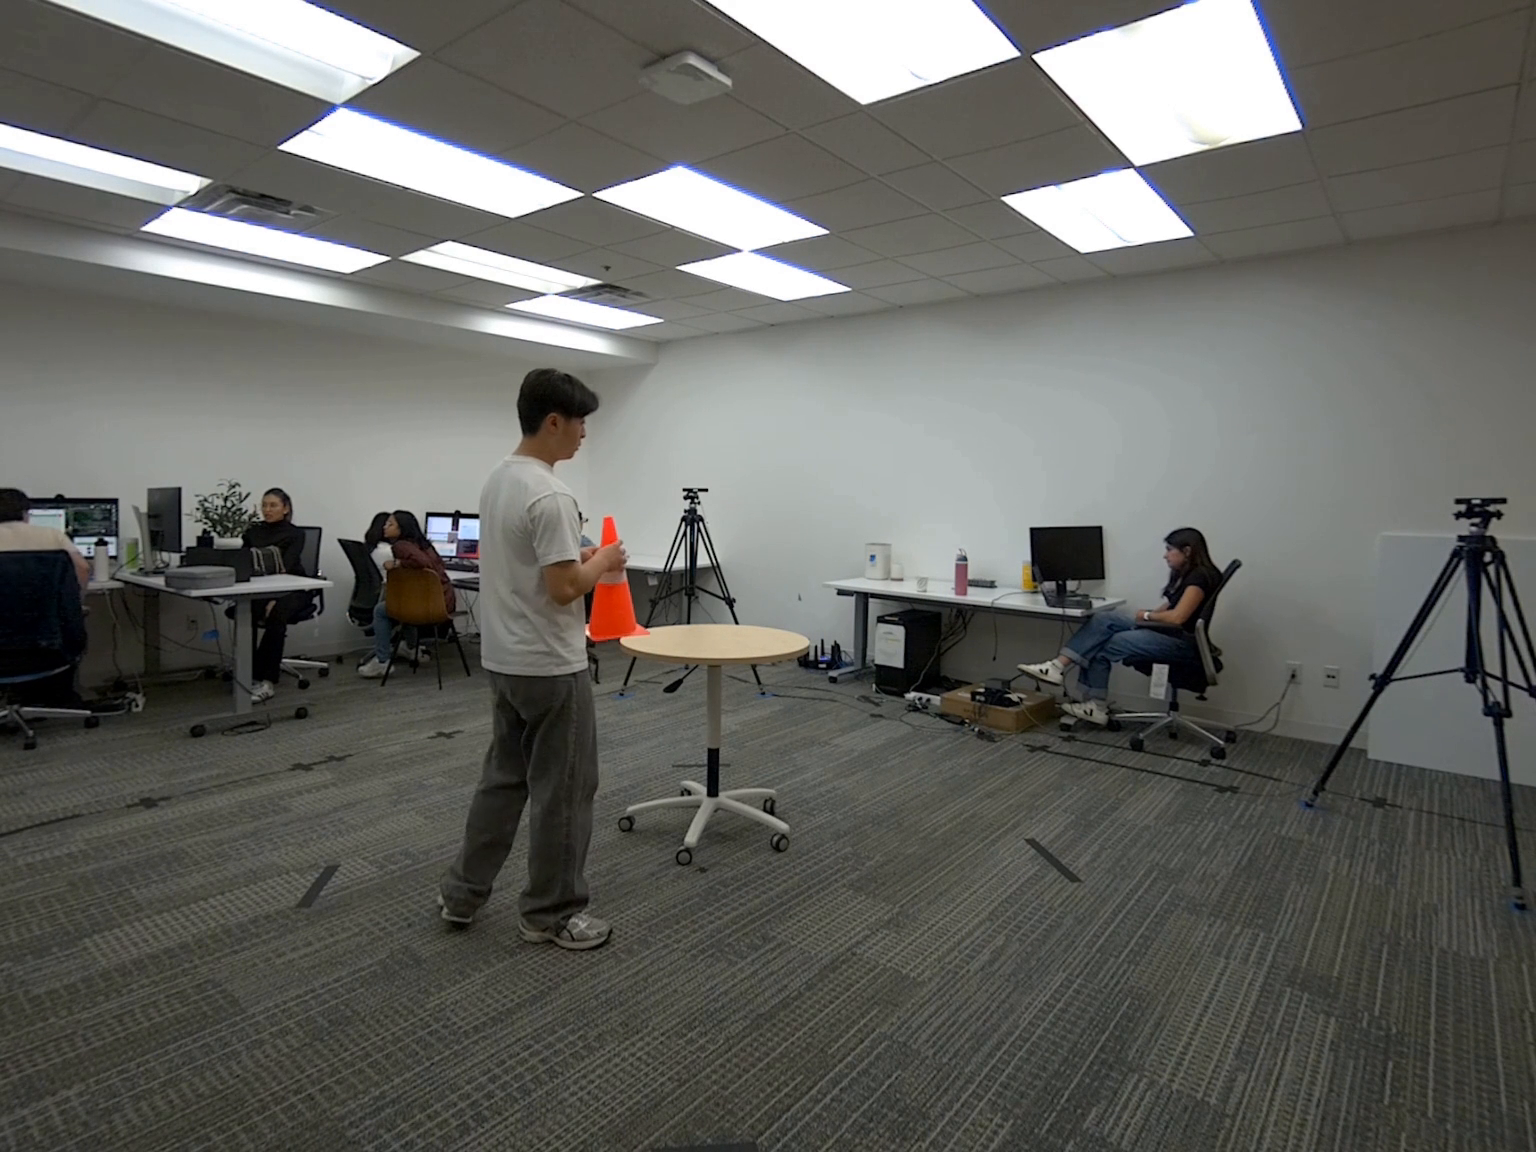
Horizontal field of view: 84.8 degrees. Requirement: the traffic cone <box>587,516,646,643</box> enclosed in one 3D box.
[{"bbox_3d":[-0.521,-0.008,2.780,0.211,0.380,0.200,4,12,27],"label":"traffic cone"}]
